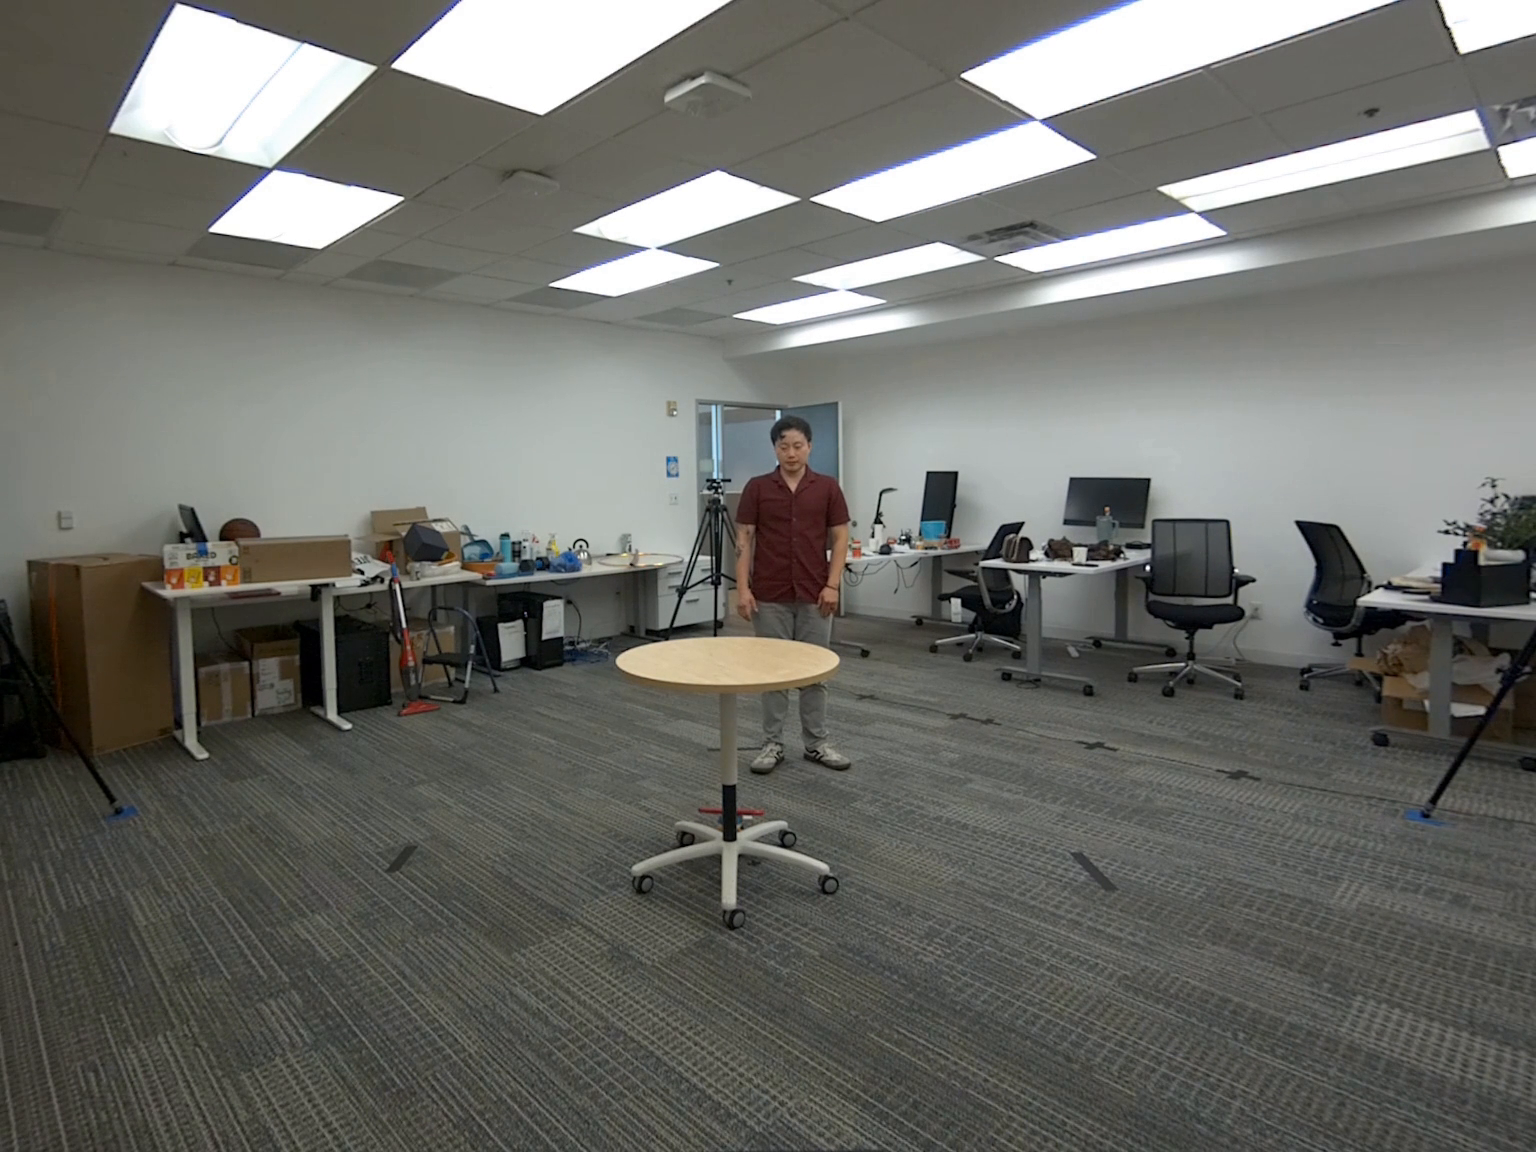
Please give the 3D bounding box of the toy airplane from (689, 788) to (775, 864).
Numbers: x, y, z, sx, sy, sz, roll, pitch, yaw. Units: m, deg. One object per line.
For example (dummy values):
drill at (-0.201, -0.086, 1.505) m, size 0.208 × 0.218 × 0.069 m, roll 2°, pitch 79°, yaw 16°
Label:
toy airplane at (-0.145, 0.948, 3.283) m, size 0.247 × 0.156 × 0.265 m, roll -3°, pitch 6°, yaw -20°
